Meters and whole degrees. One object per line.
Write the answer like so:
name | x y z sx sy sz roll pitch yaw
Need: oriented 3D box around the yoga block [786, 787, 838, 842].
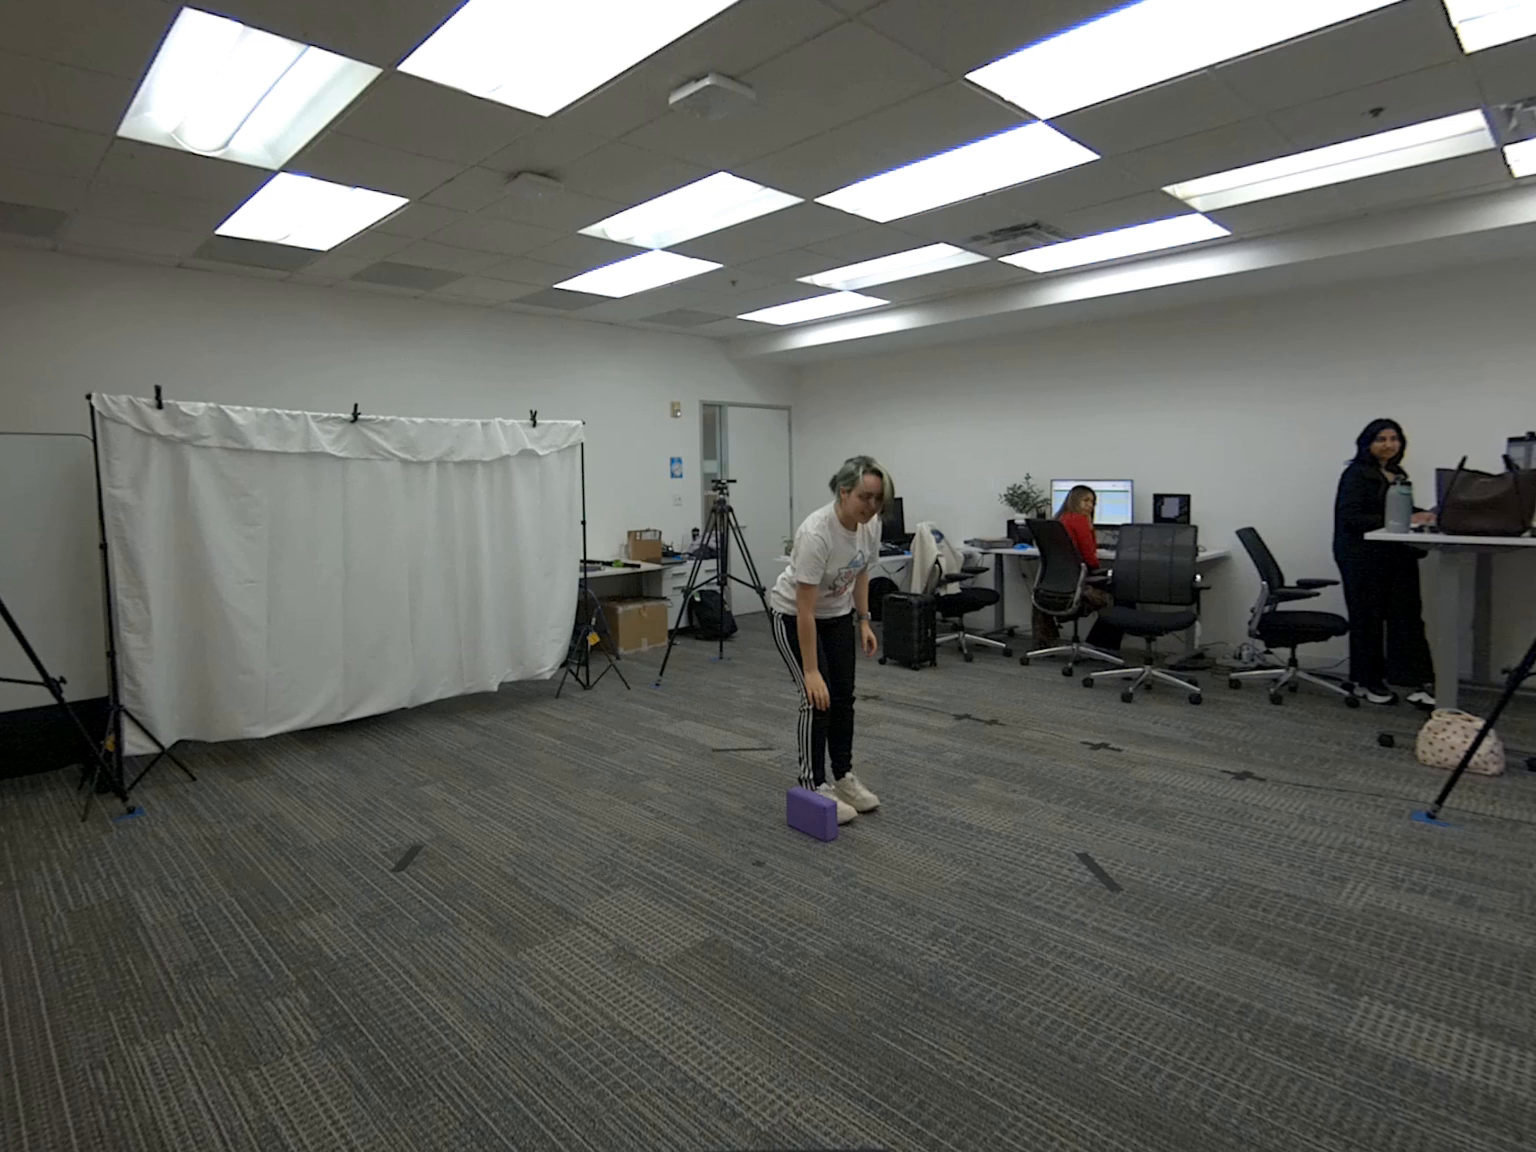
yoga block | 0.174 0.936 3.380 0.074 0.148 0.236 -5 6 -37
